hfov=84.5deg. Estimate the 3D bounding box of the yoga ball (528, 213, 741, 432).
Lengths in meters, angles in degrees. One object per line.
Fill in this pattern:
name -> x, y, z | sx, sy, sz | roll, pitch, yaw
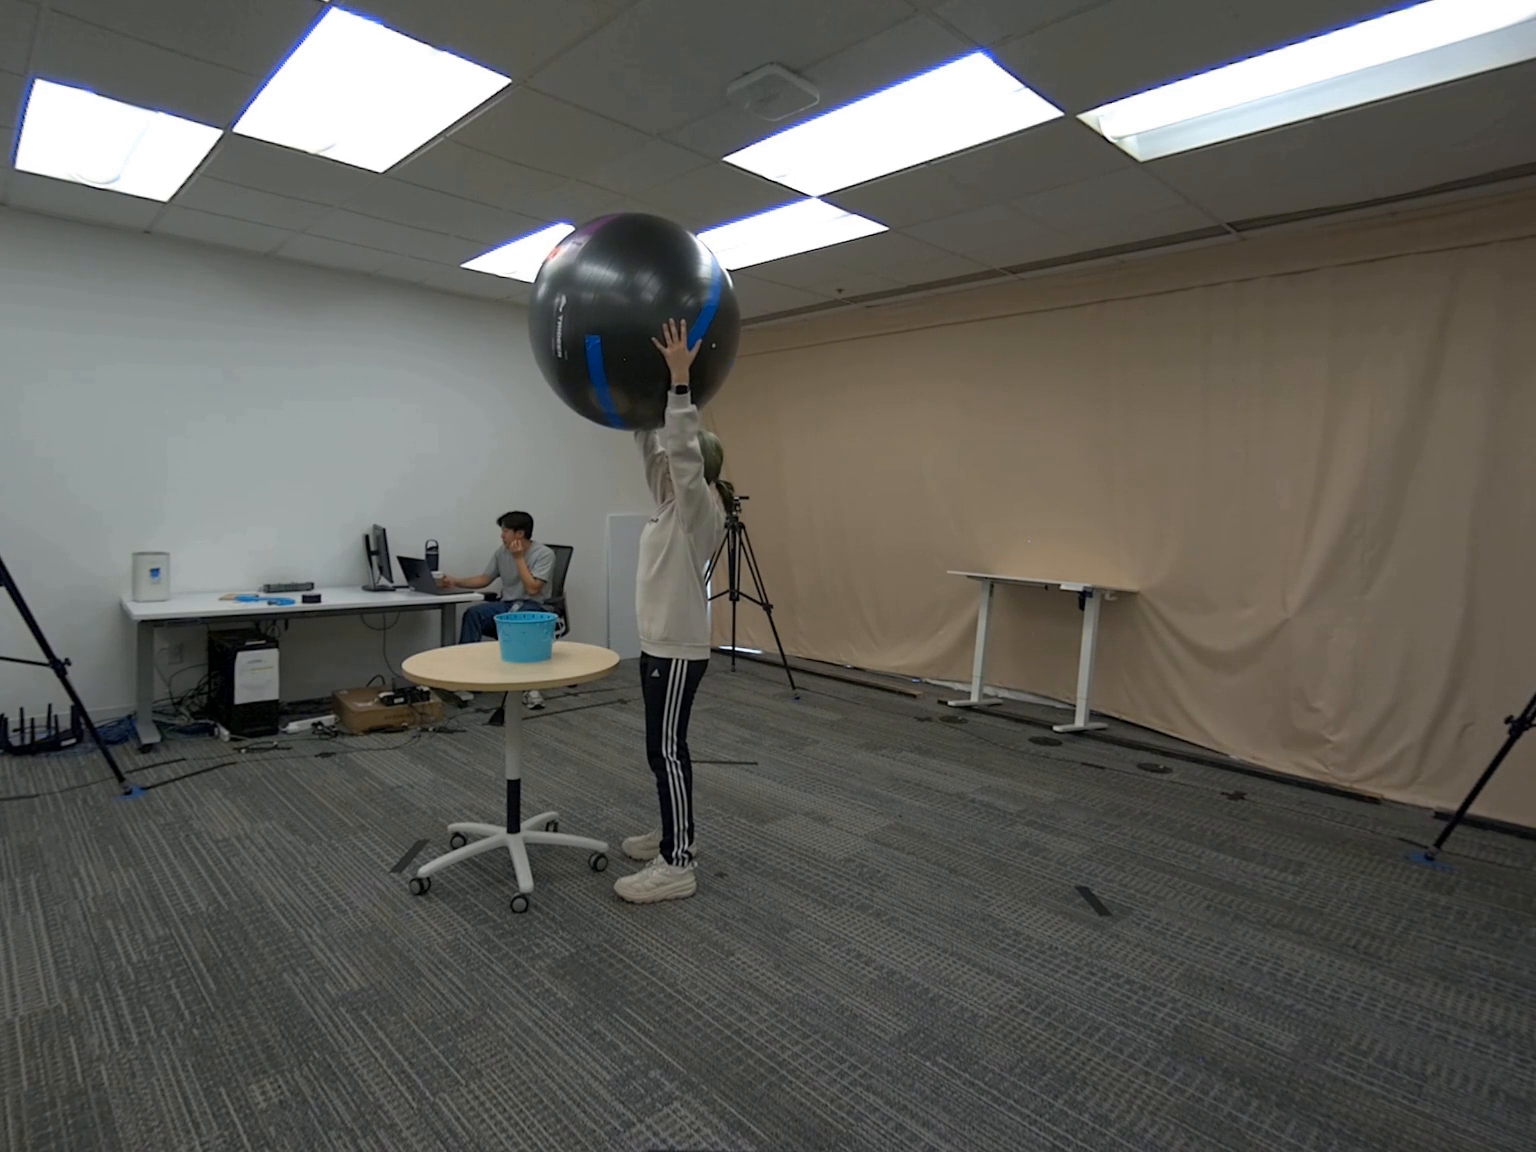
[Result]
yoga ball -> -0.491, -0.895, 3.027 | 0.757, 0.756, 0.761 | 1, 4, -1
